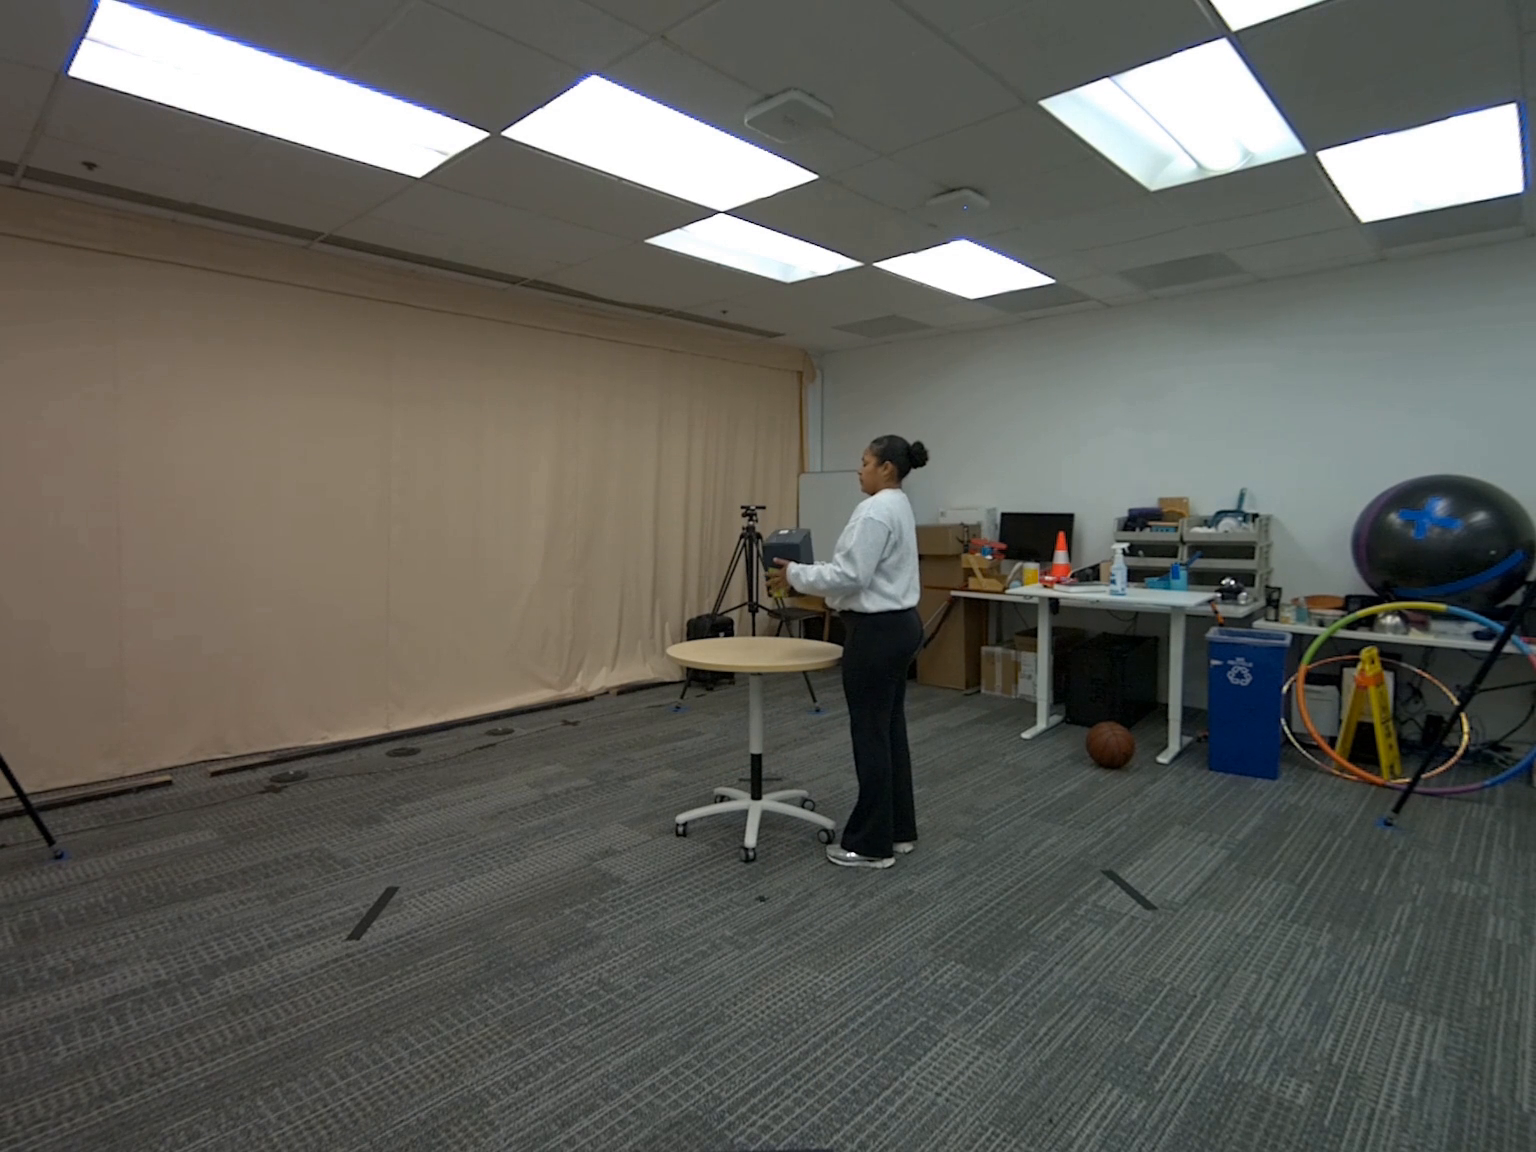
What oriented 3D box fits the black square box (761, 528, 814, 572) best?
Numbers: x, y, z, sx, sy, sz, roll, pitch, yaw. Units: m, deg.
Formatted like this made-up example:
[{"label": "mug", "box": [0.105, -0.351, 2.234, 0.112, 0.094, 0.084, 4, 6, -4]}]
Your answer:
[{"label": "black square box", "box": [0.088, -0.049, 3.462, 0.159, 0.225, 0.215, -4, 15, 17]}]
